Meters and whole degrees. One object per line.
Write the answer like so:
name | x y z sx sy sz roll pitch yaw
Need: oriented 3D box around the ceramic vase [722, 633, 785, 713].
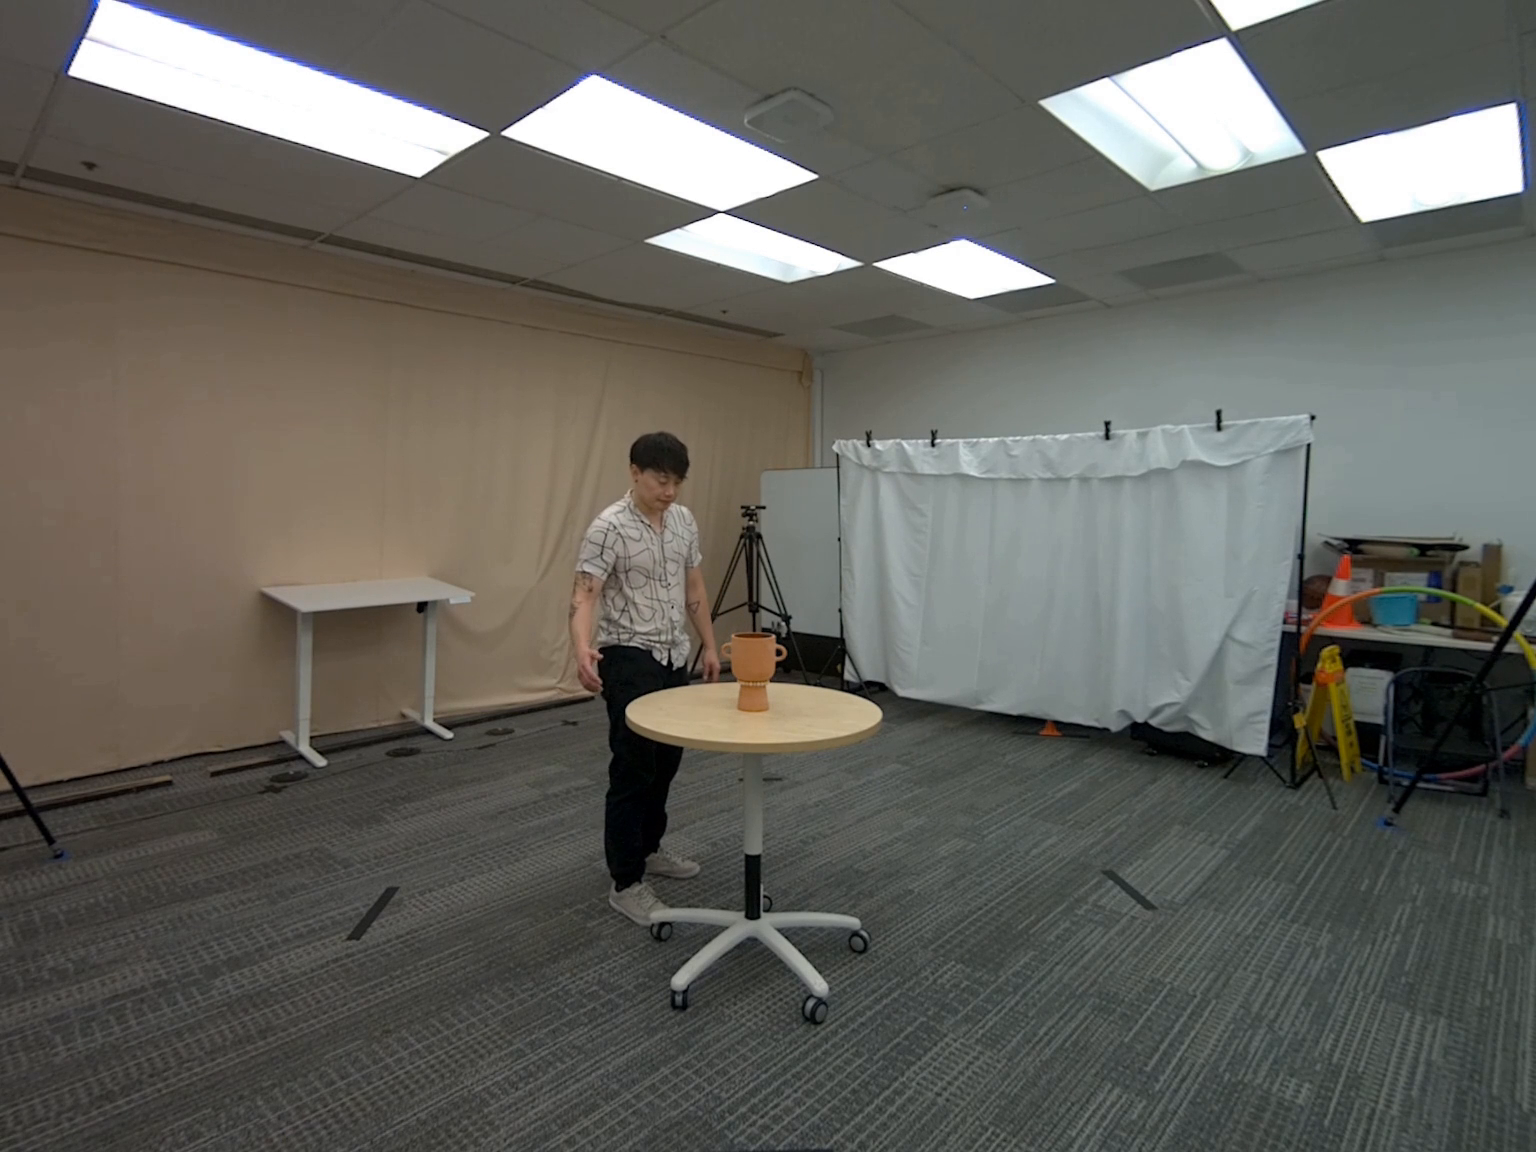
ceramic vase | -0.039 0.291 2.526 0.130 0.219 0.164 -2 4 -41
